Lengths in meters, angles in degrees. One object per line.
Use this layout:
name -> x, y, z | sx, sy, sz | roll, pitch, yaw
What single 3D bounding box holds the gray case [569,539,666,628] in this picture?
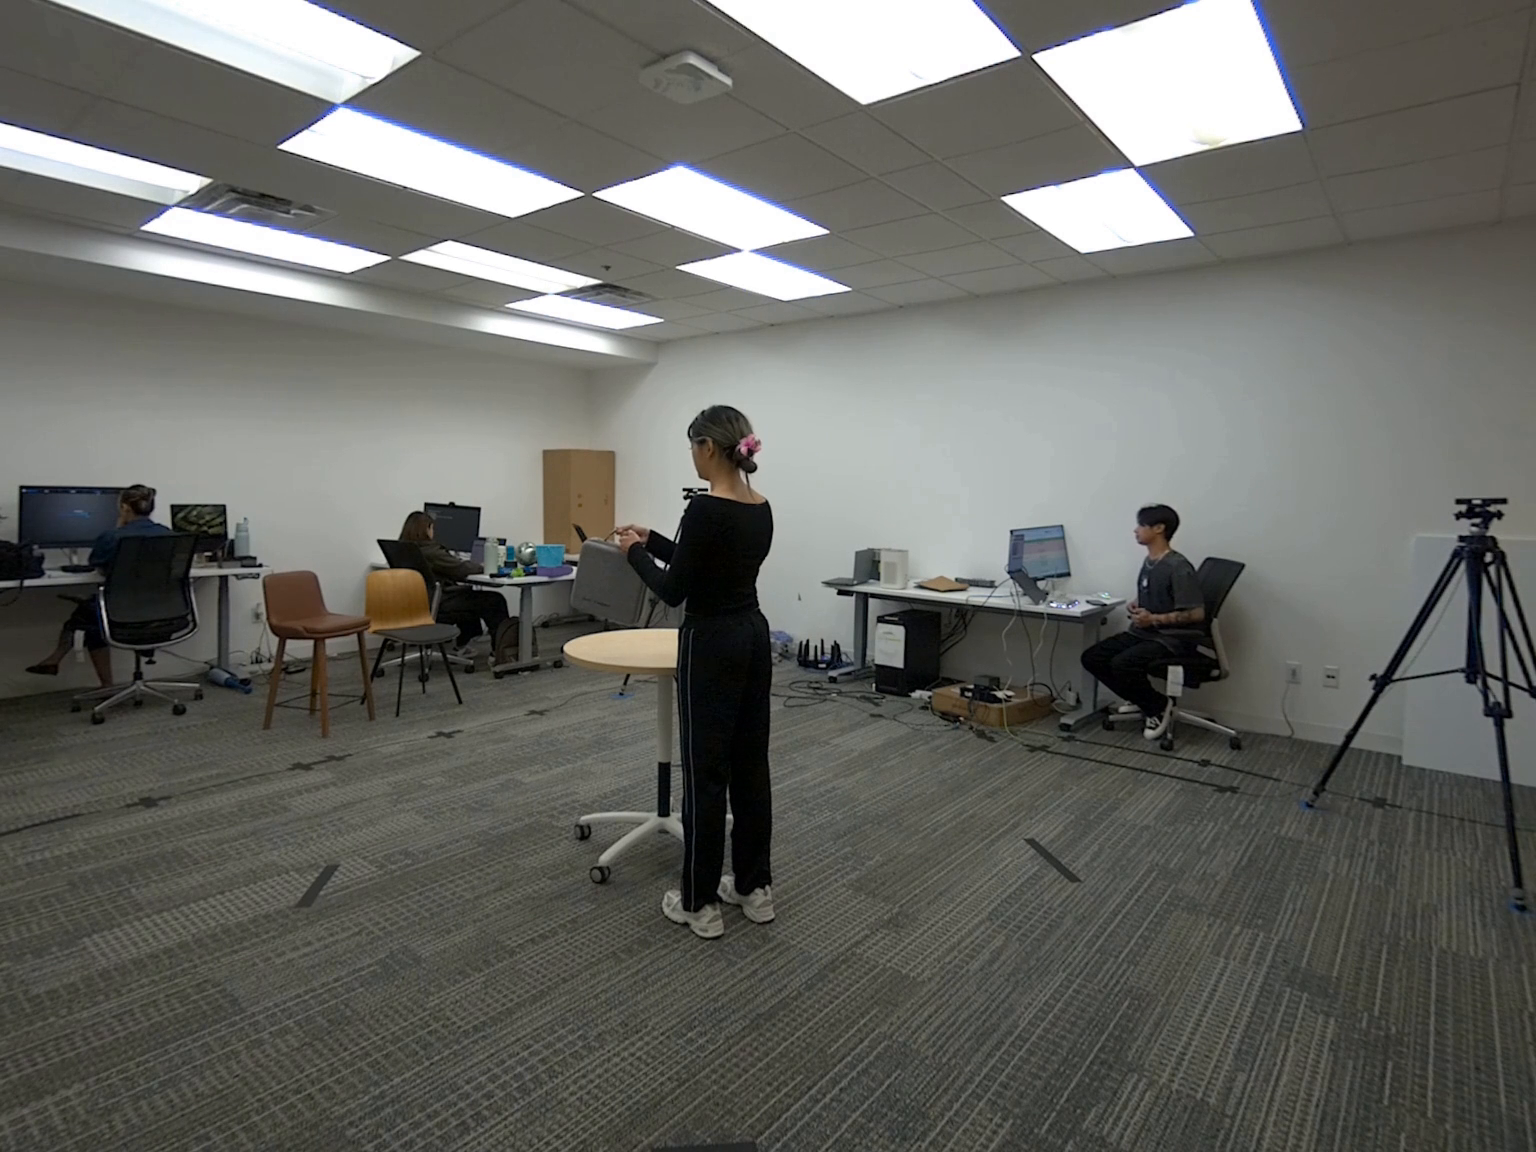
gray case -> -0.550, 0.012, 2.930 | 0.261, 0.258, 0.103 | 18, 13, 13
